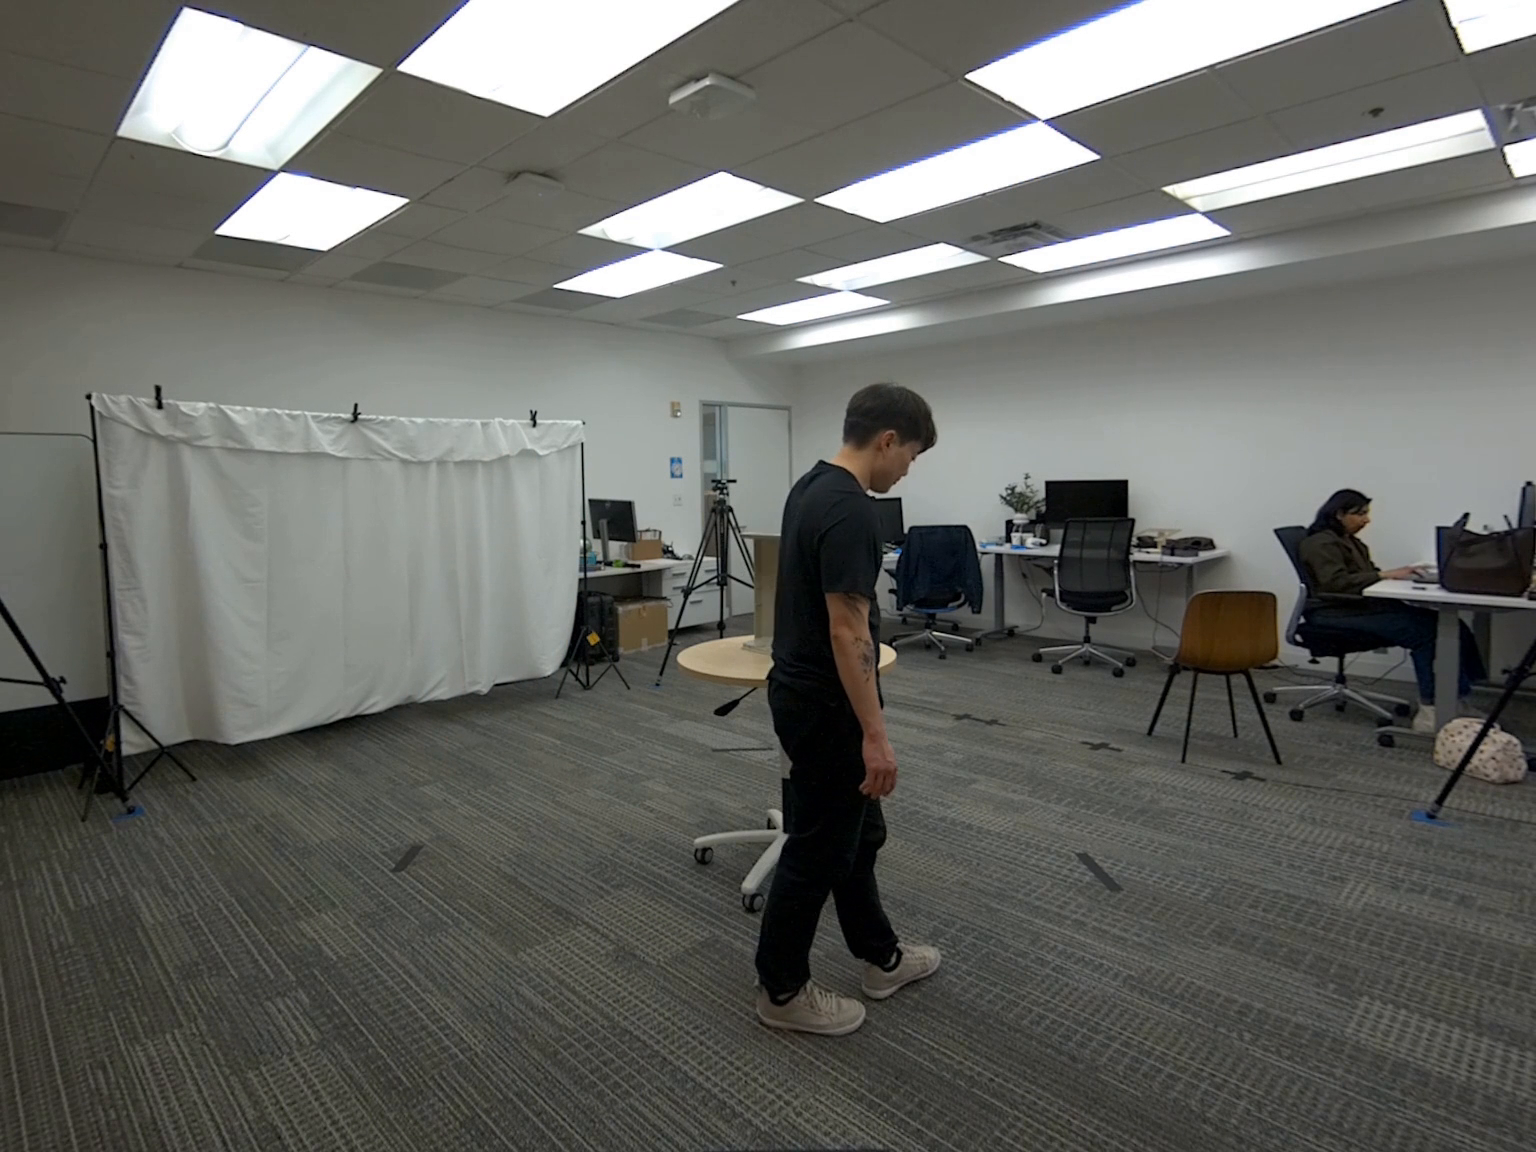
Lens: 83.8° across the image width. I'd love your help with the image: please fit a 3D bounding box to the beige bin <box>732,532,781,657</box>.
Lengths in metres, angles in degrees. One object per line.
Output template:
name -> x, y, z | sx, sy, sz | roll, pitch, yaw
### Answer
beige bin -> 0.063, 0.061, 3.043 | 0.184, 0.421, 0.388 | -2, 3, -38
